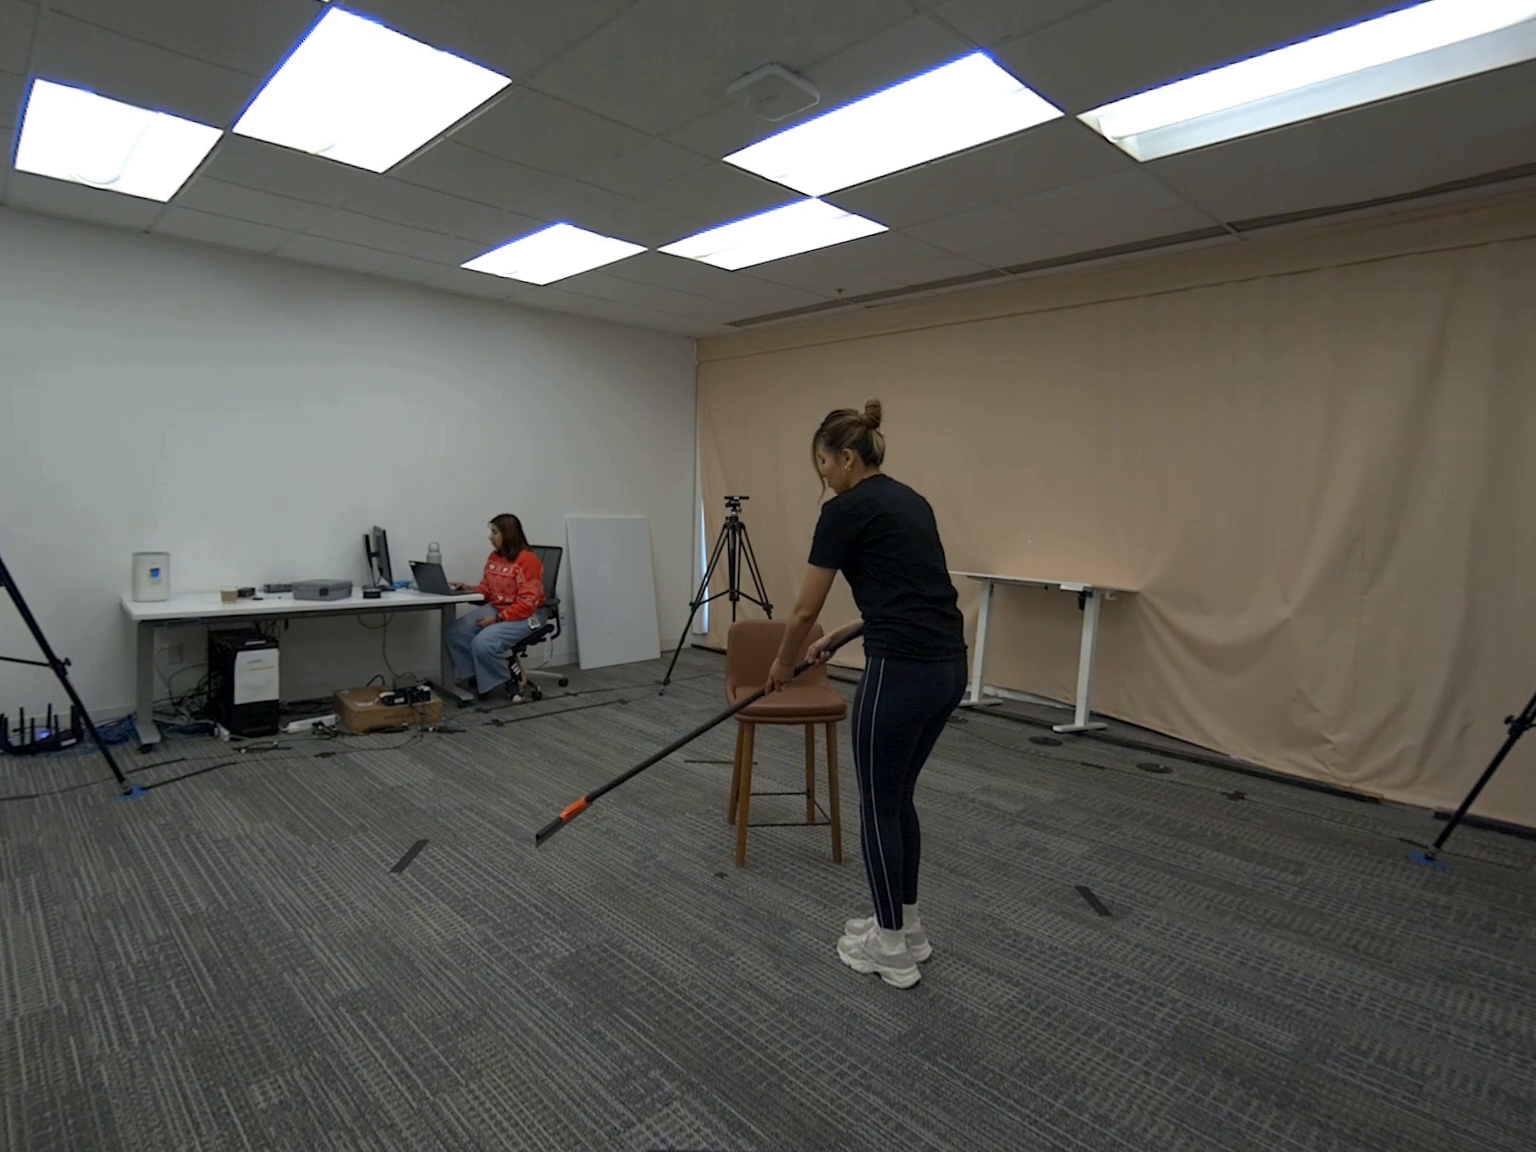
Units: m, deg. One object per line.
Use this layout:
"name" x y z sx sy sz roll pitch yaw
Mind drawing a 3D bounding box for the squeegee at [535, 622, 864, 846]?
"squeegee" -0.141 0.465 2.779 1.543 0.053 0.433 -34 -3 17
